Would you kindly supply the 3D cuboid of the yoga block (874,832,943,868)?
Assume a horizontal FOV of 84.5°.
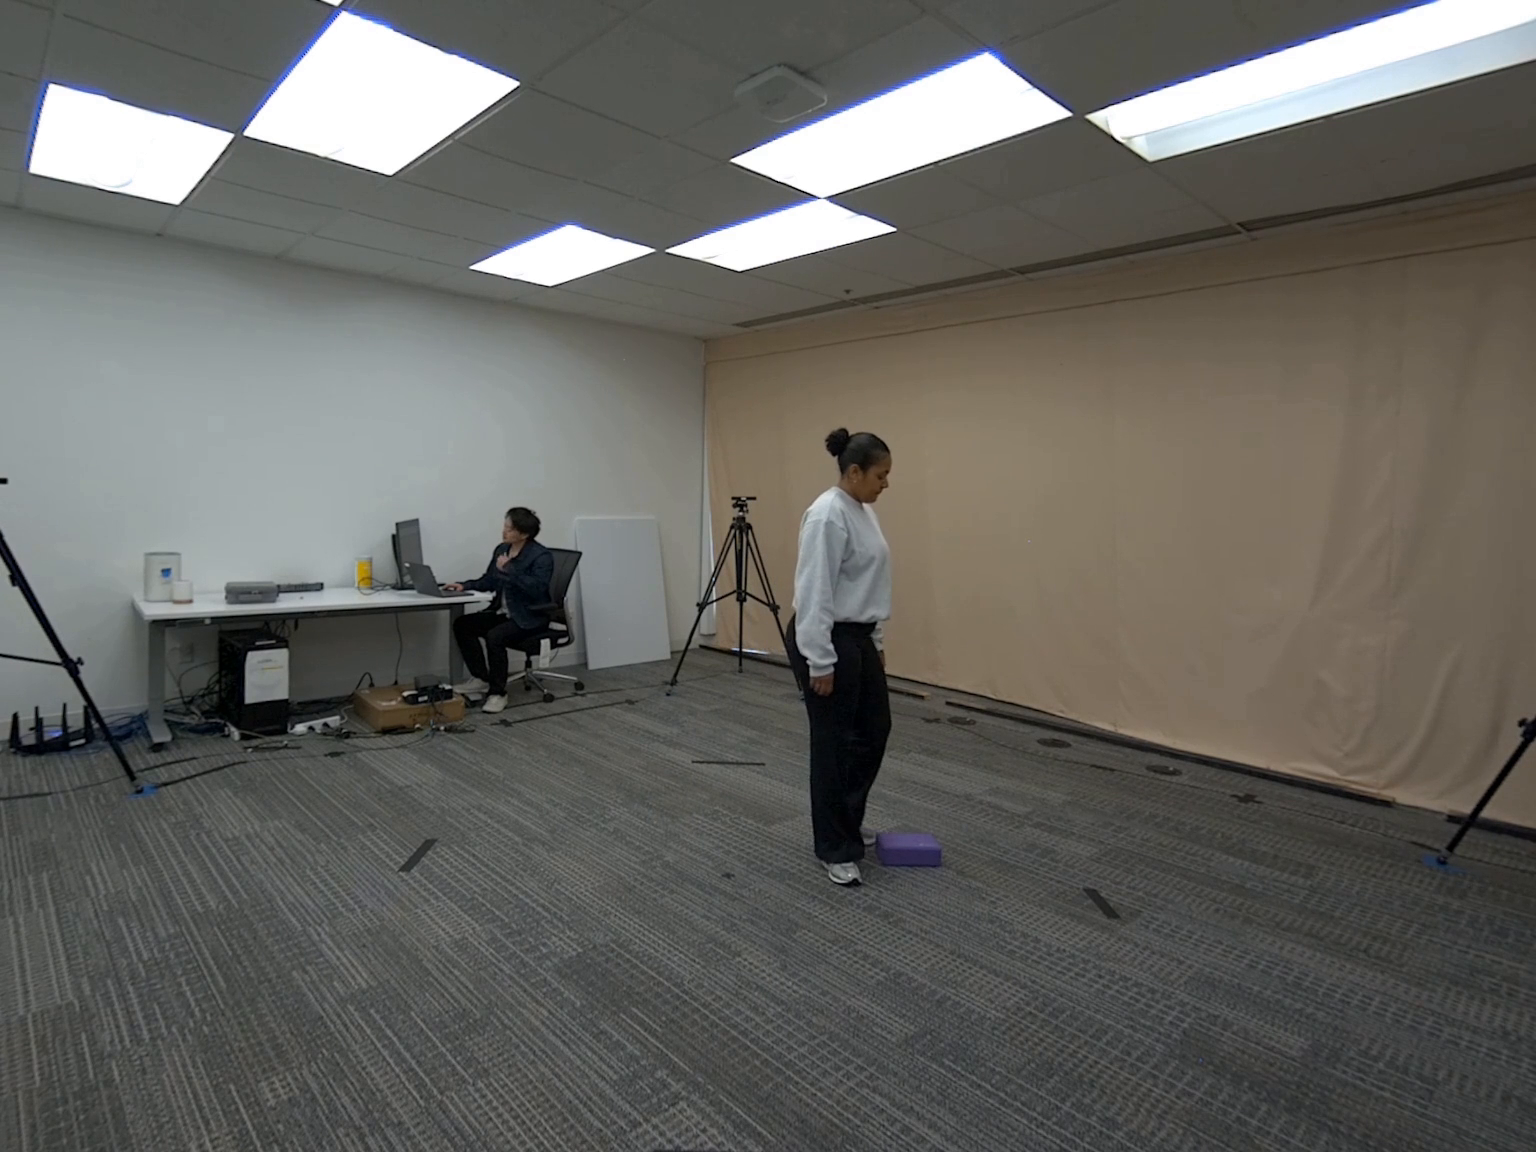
[{"bbox_3d":[0.548,1.067,3.272,0.229,0.076,0.150,2,5,-4],"label":"yoga block"}]
